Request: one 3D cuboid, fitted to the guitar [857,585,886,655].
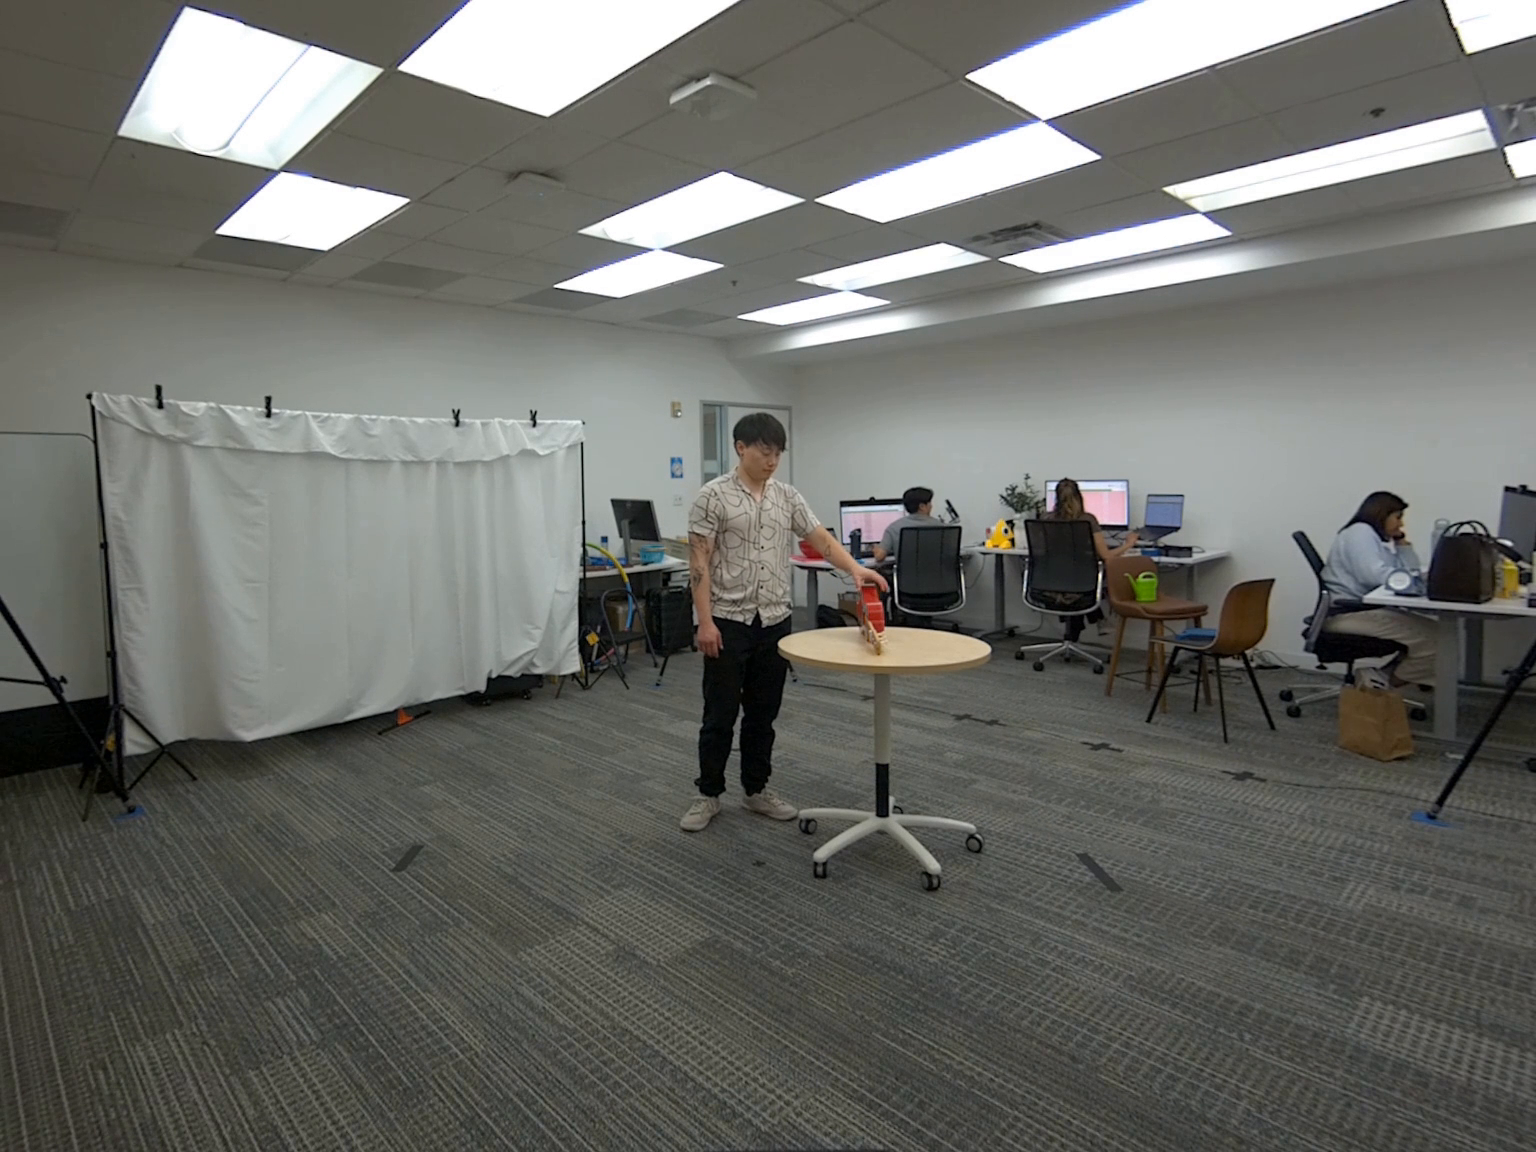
[{"bbox_3d":[0.398,0.206,3.187,0.071,0.189,0.507,-2,24,0],"label":"guitar"}]
